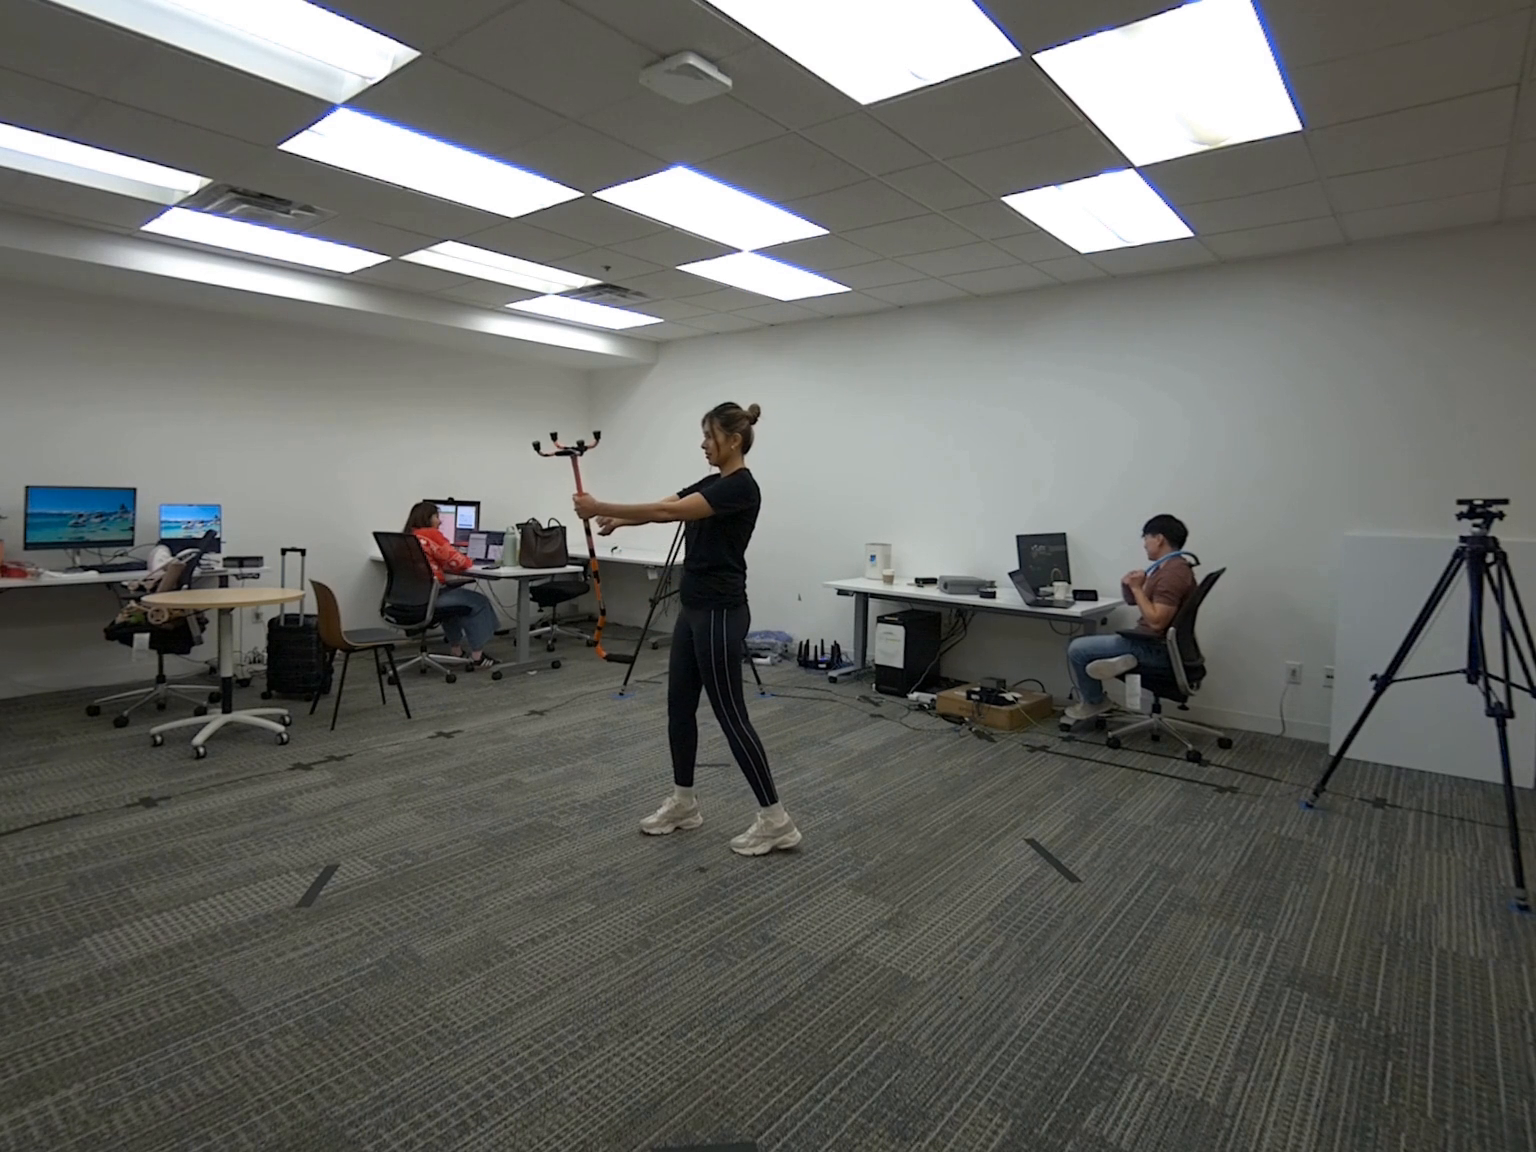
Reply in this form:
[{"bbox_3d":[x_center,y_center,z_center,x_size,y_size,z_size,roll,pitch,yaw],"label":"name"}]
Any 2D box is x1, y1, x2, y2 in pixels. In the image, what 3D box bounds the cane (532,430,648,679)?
[{"bbox_3d":[-0.670,-0.083,3.146,0.210,0.888,0.152,0,23,16],"label":"cane"}]
